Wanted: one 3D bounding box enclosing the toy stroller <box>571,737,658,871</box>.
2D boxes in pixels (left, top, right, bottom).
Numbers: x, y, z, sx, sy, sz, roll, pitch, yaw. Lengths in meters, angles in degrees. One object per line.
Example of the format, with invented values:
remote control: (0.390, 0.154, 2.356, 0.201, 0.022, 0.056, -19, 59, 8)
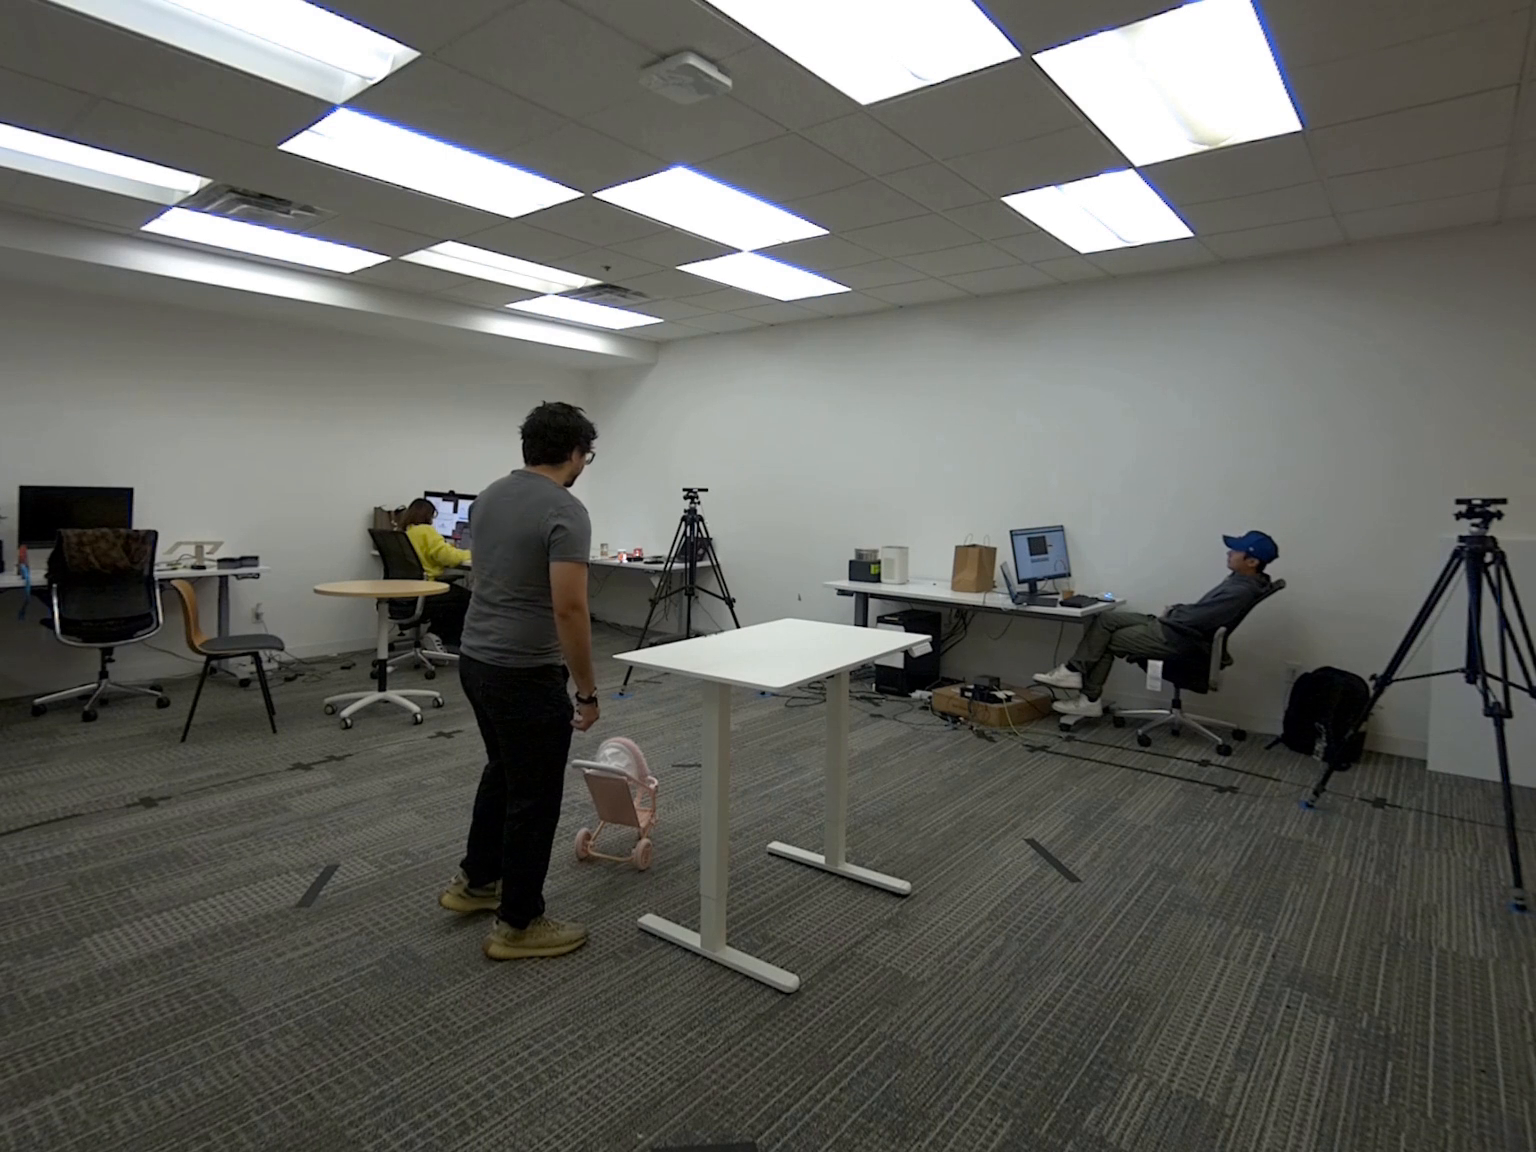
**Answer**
toy stroller: (-0.558, 0.833, 3.191, 0.288, 0.525, 0.339, 4, 21, 22)
